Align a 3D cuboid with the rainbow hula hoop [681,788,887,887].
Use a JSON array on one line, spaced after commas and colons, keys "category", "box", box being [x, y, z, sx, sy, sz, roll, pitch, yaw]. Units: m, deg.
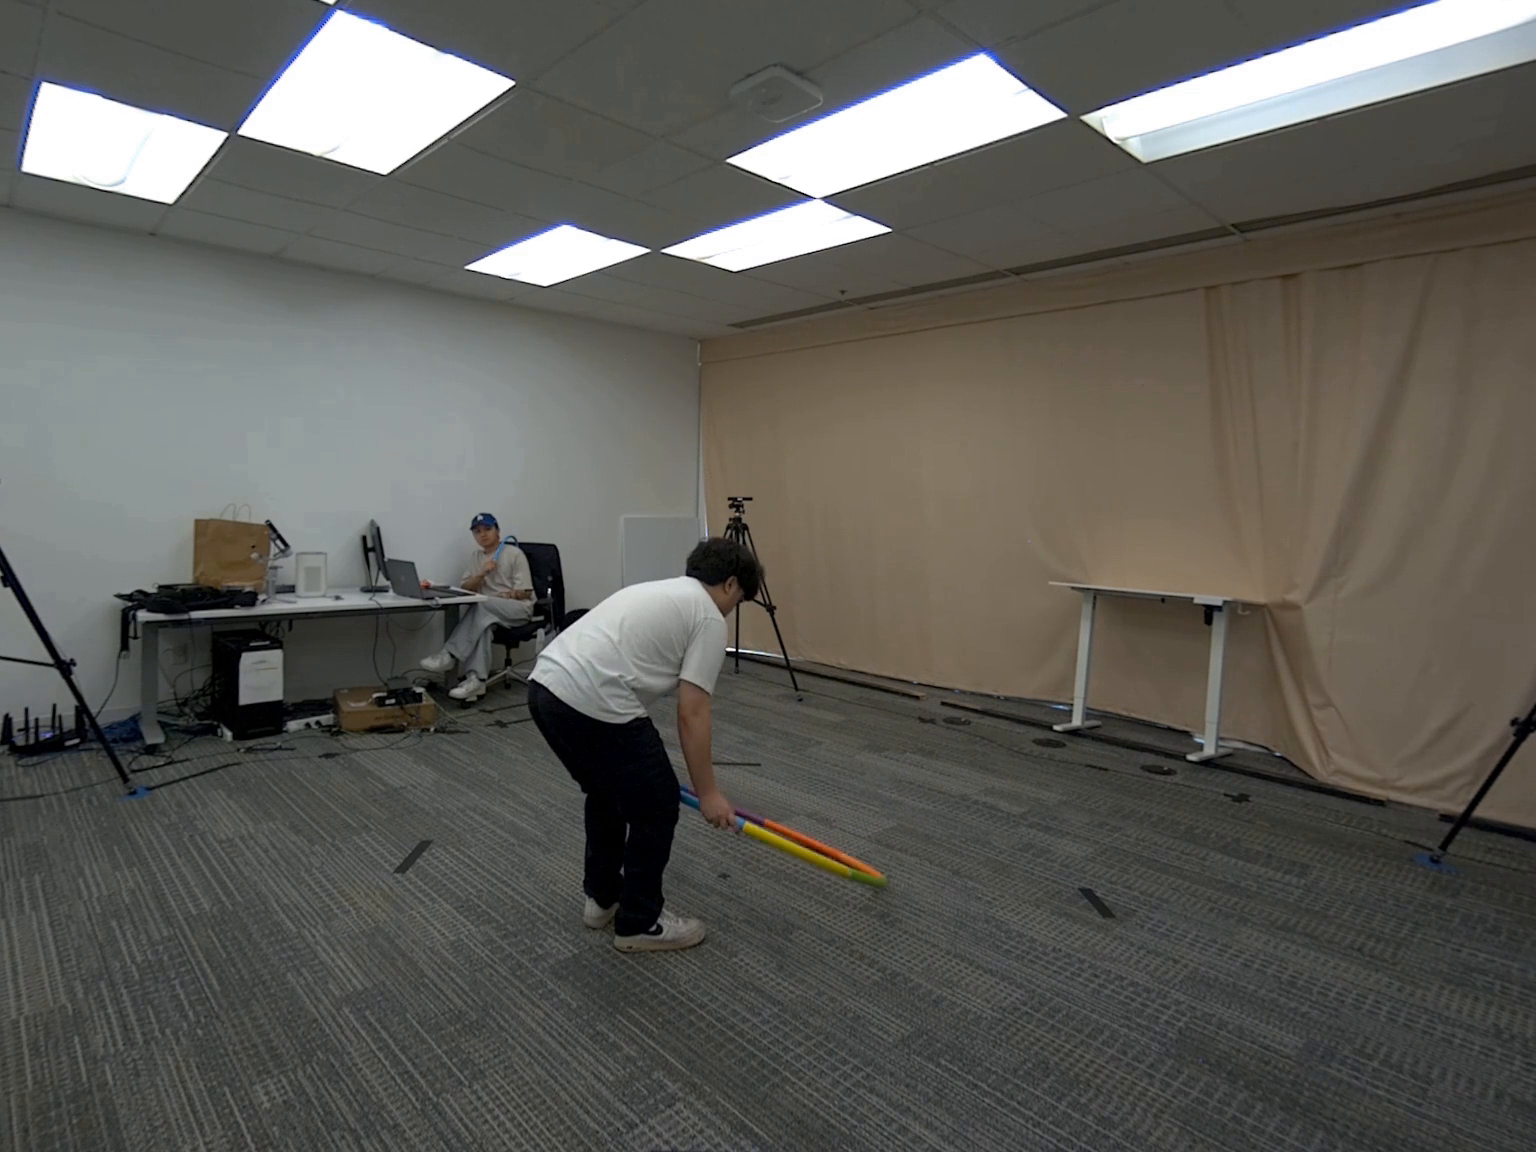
[{"category": "rainbow hula hoop", "box": [-0.039, 0.885, 3.016, 0.990, 0.052, 0.976, 22, -13, 4]}]
